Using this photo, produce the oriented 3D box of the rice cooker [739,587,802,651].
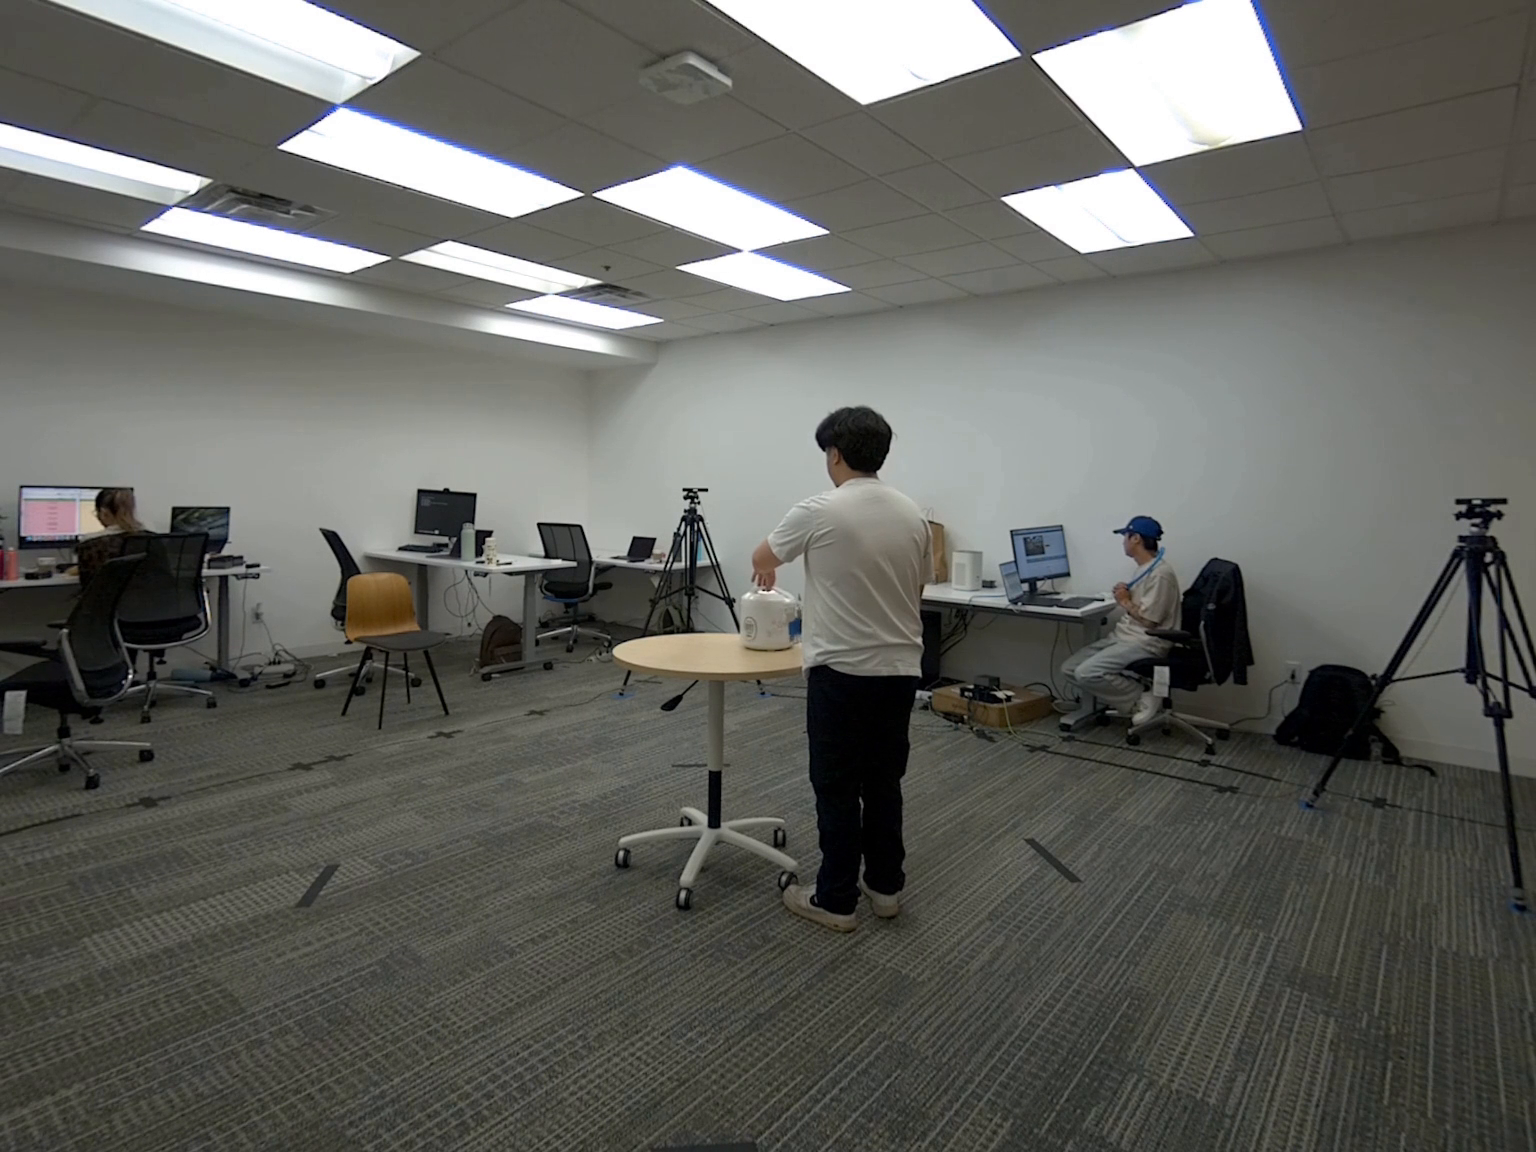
[{"bbox_3d":[-0.007,0.148,3.205,0.228,0.232,0.211,3,5,39],"label":"rice cooker"}]
